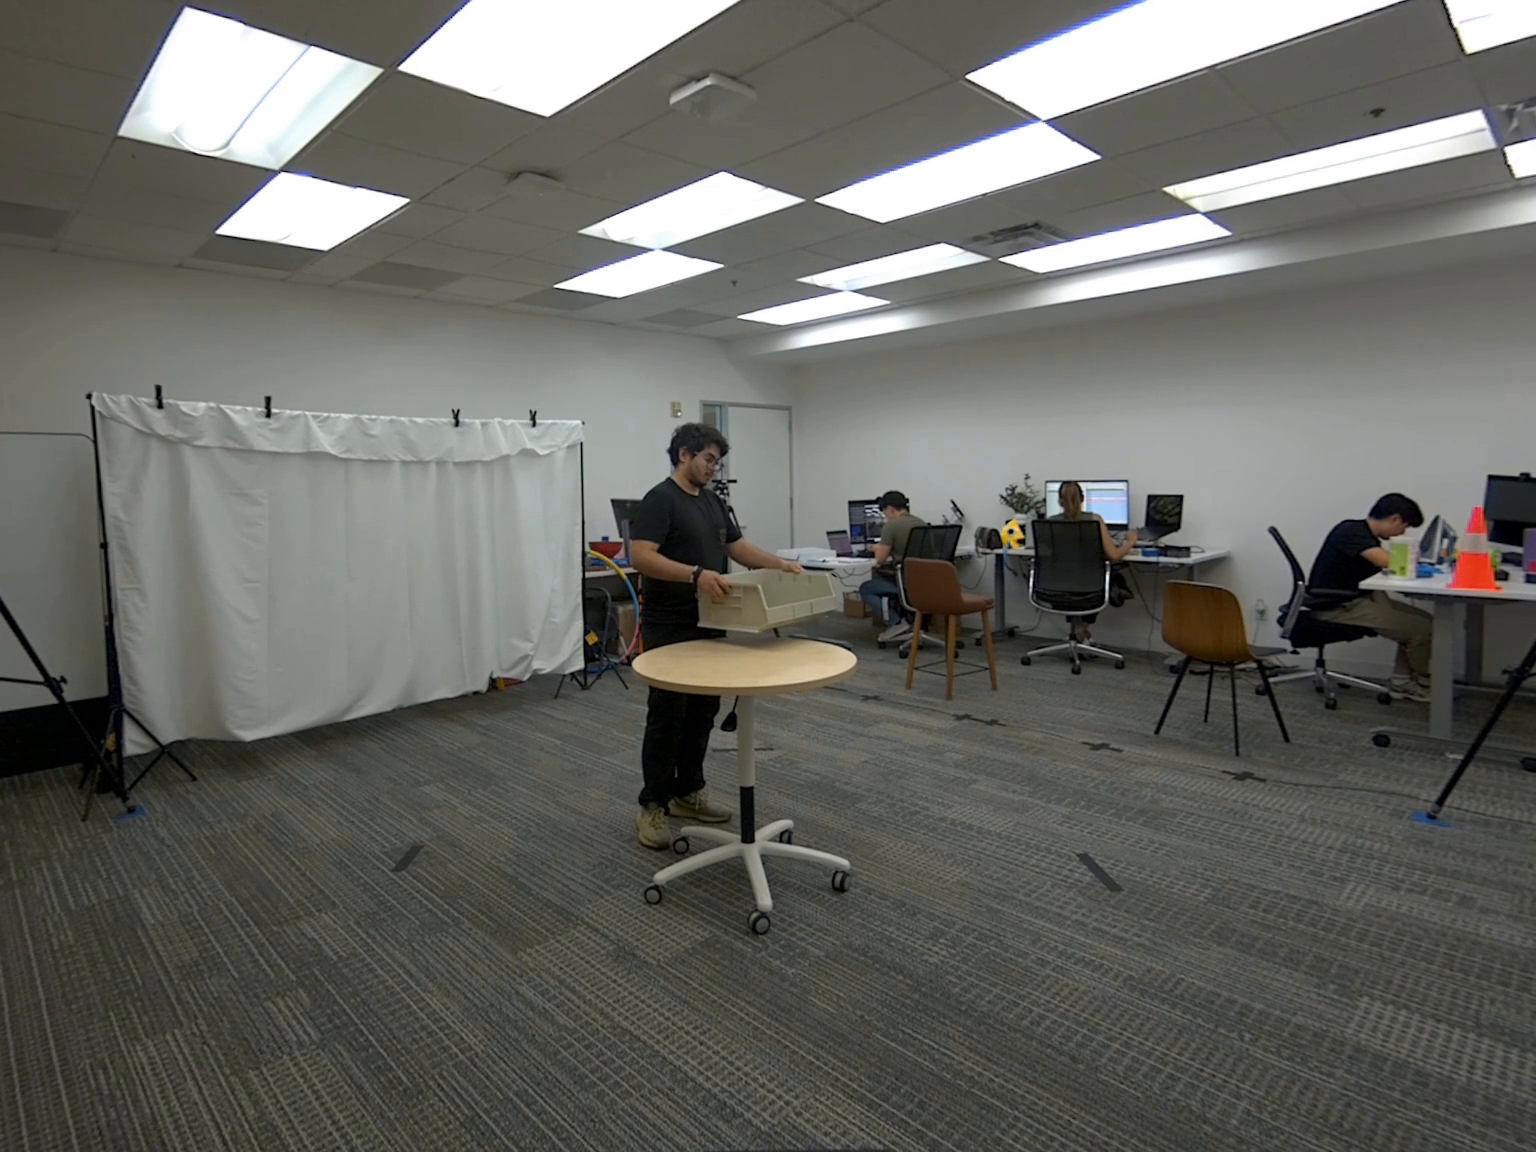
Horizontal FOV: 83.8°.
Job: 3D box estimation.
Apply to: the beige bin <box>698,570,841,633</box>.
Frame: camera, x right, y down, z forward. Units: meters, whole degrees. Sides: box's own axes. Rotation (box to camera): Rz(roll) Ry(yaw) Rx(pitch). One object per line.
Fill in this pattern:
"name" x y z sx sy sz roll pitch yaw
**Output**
"beige bin" -0.010 0.089 3.279 0.388 0.188 0.412 2 7 44
